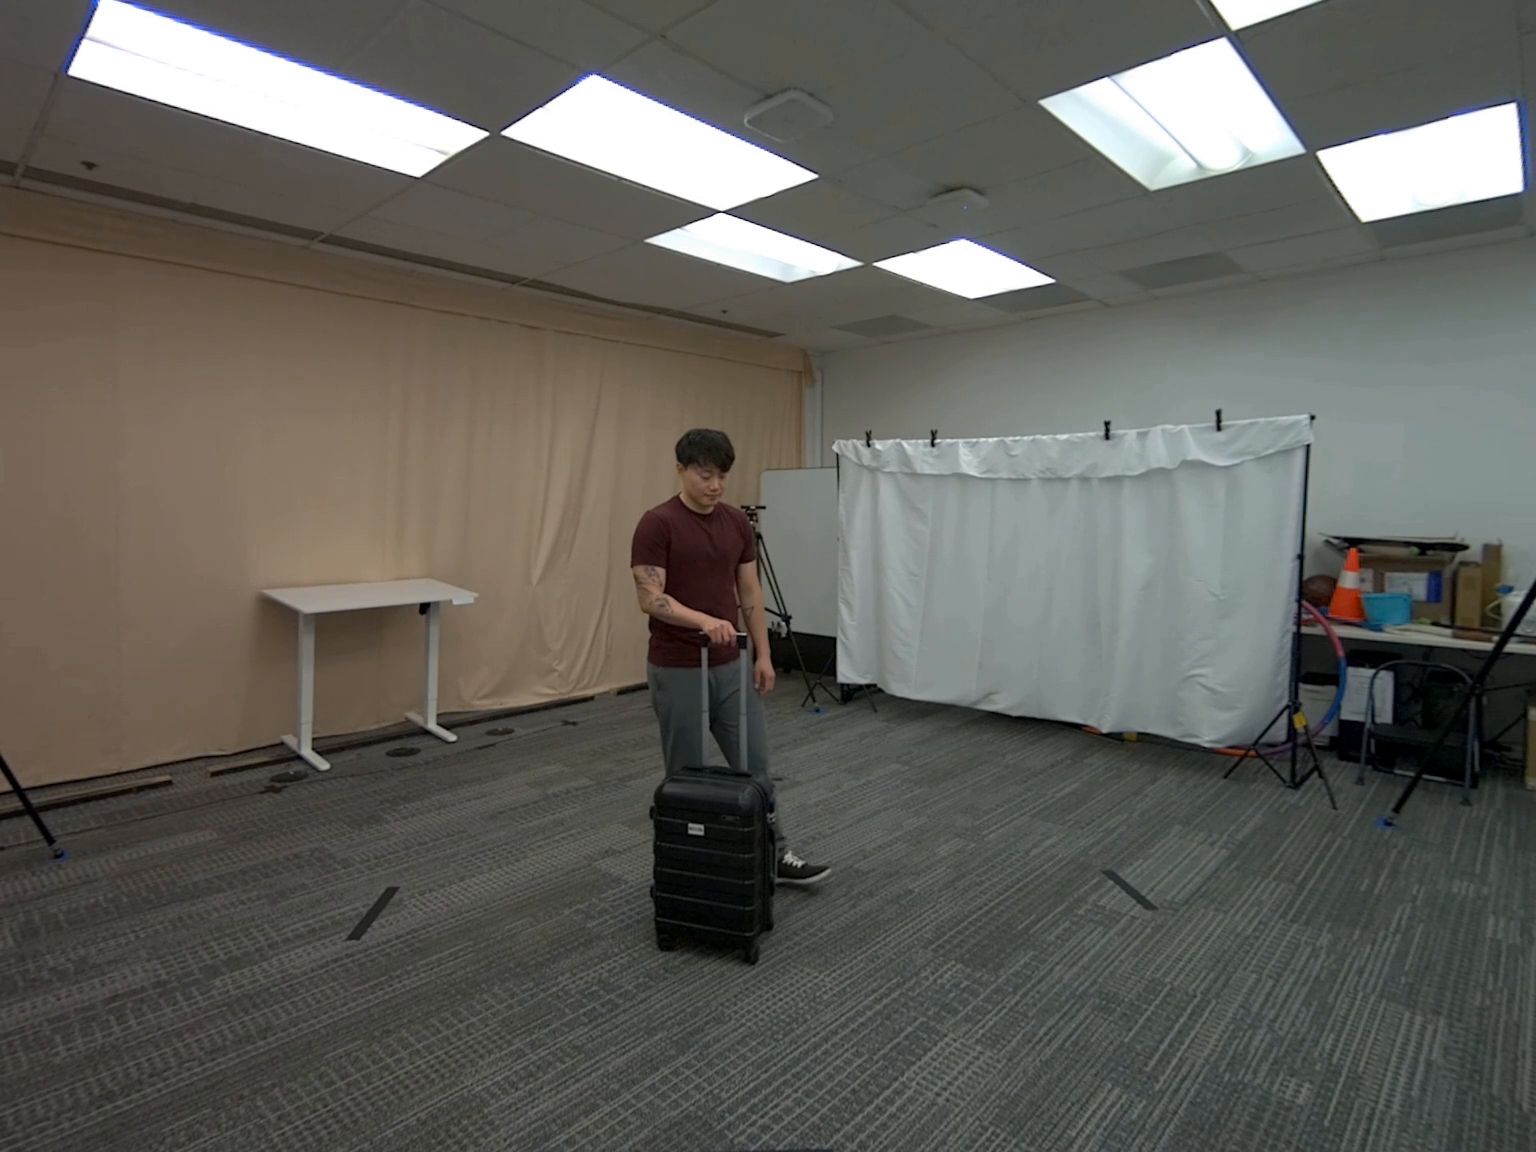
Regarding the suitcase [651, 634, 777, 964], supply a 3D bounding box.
[{"bbox_3d":[-0.165,0.695,2.661,0.391,0.975,0.253,2,6,17],"label":"suitcase"}]
